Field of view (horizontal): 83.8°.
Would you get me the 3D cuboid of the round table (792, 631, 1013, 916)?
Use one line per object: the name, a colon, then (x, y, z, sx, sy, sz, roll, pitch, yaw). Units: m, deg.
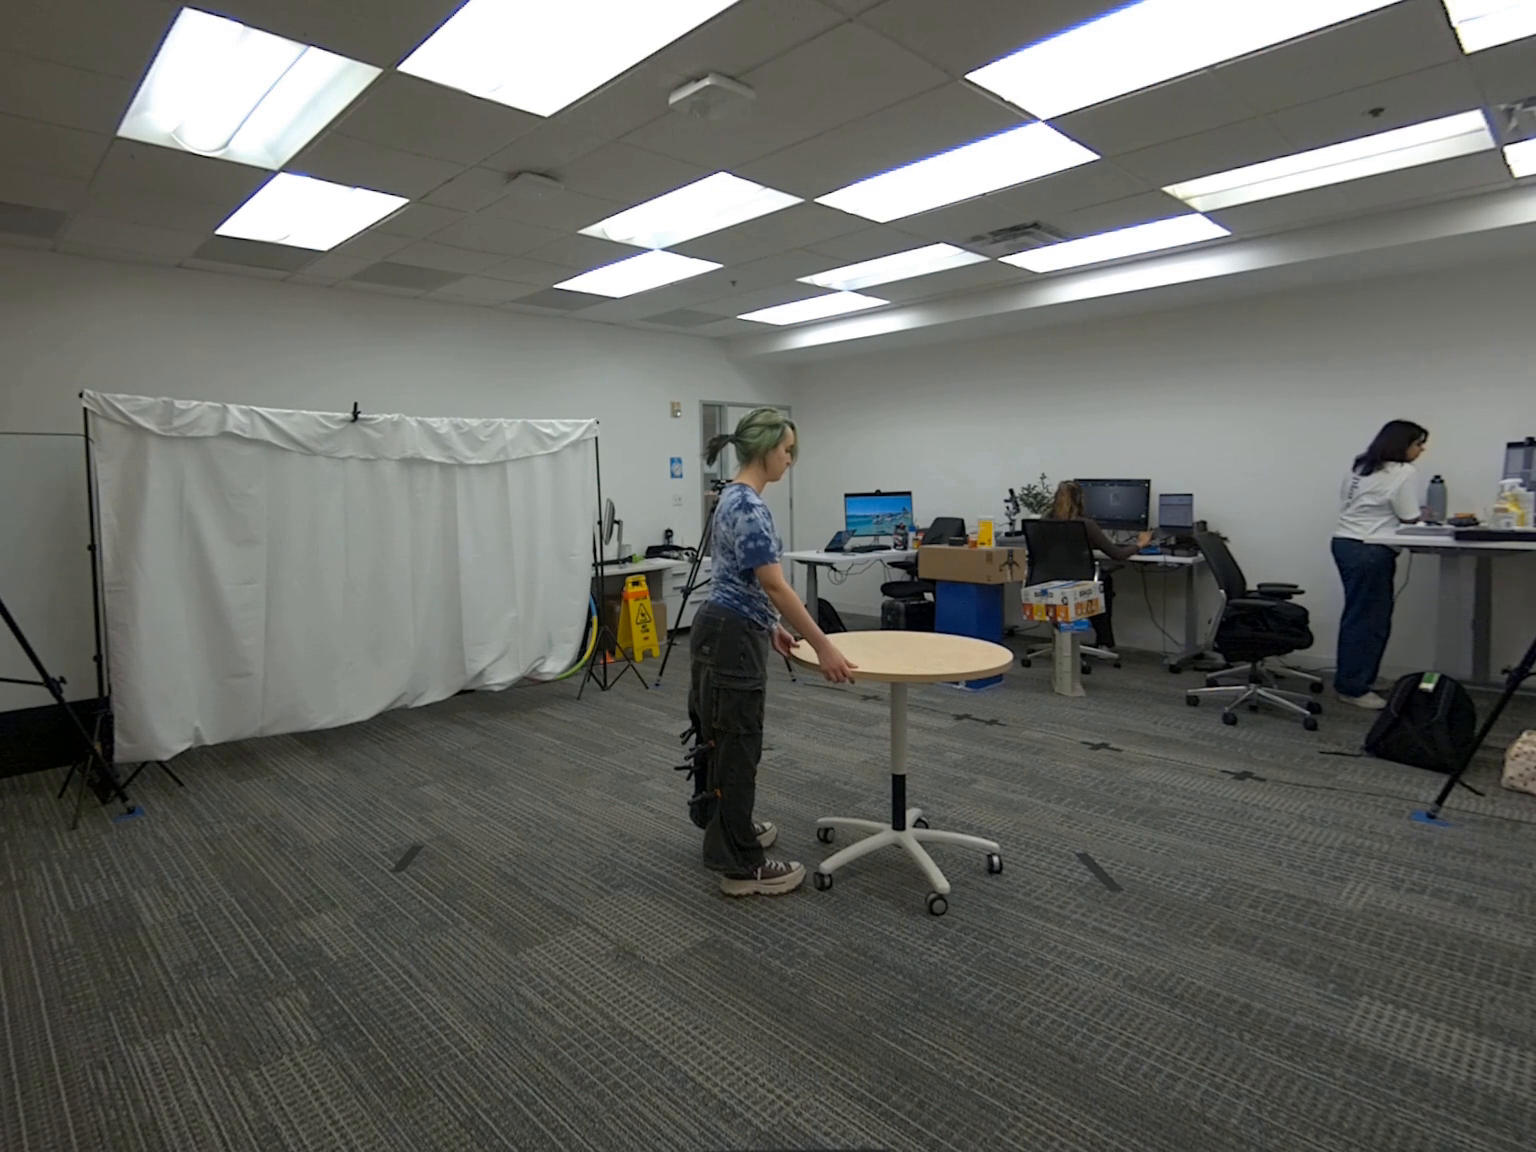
round table: (0.467, 0.652, 3.044, 0.763, 0.791, 0.768, -1, 5, -2)
